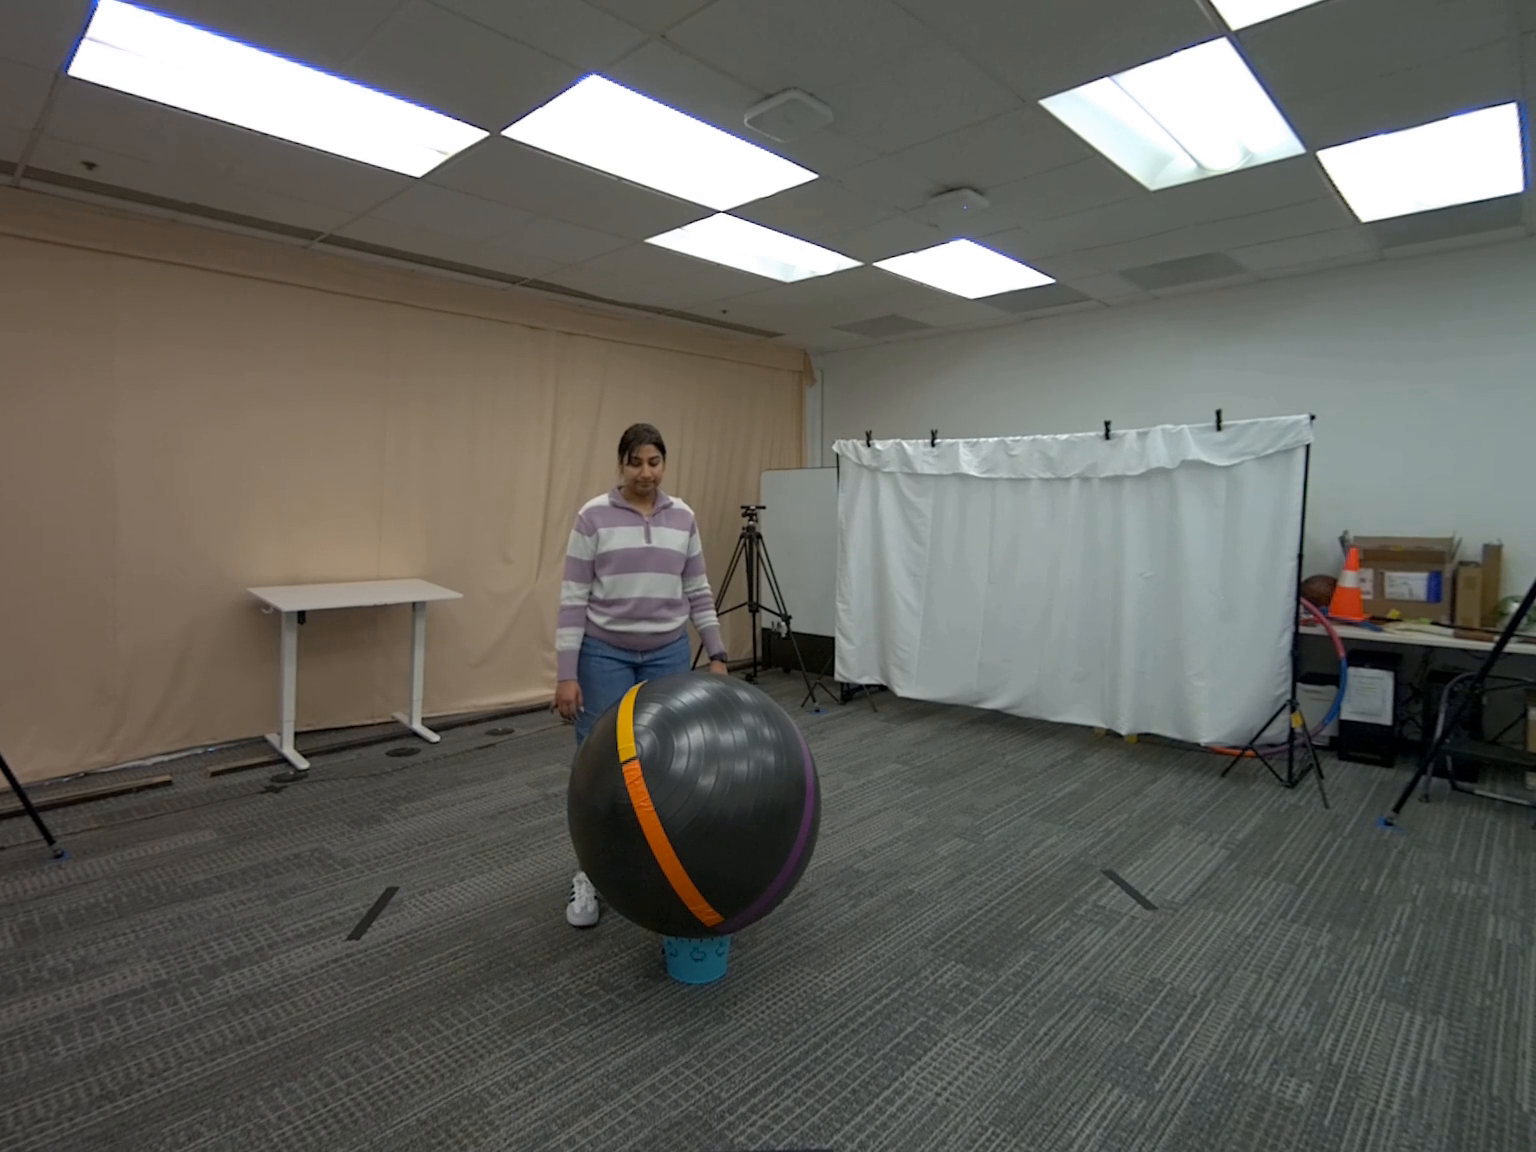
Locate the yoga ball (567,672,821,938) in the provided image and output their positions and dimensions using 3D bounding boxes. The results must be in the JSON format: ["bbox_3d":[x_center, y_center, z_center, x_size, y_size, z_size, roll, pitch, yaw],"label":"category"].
[{"bbox_3d":[-0.217,0.674,2.513,0.757,0.756,0.761,0,4,-2],"label":"yoga ball"}]
